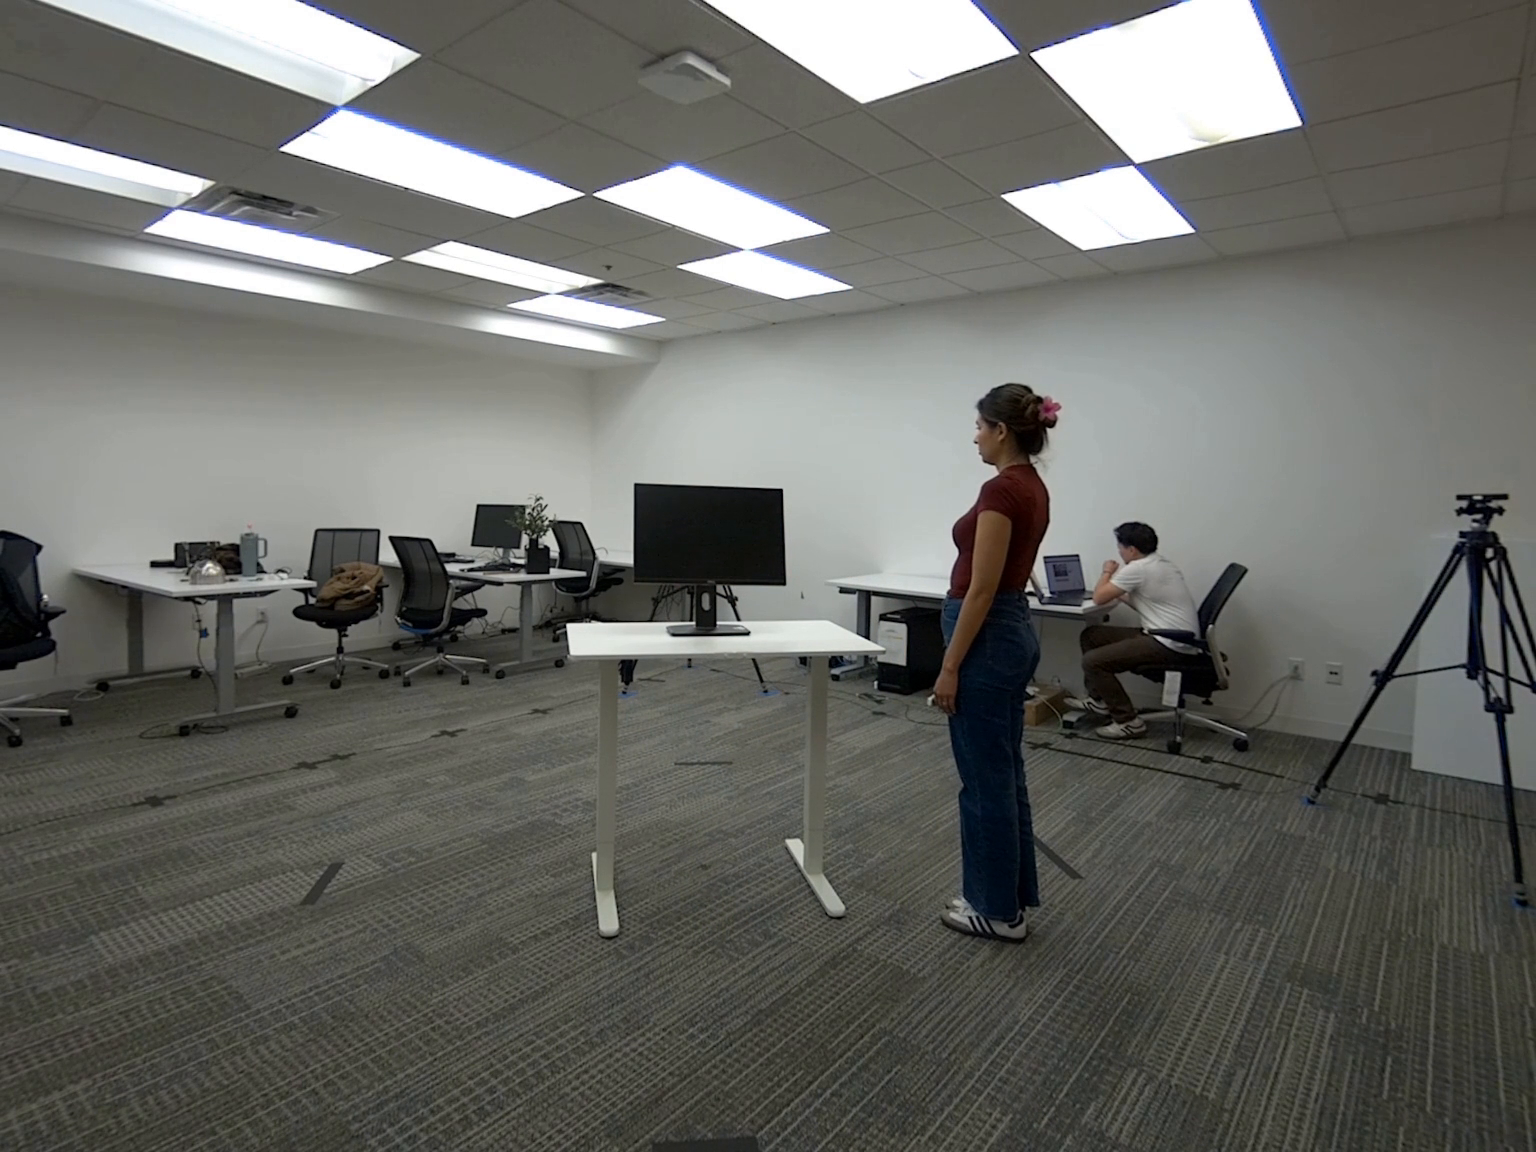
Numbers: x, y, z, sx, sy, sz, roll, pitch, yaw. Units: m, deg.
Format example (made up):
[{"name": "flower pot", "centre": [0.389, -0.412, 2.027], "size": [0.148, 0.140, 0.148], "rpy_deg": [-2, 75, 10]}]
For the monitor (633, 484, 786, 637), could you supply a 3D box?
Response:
[{"name": "monitor", "centre": [-0.222, -0.059, 2.994], "size": [0.531, 0.522, 0.190], "rpy_deg": [0, 1, -14]}]
